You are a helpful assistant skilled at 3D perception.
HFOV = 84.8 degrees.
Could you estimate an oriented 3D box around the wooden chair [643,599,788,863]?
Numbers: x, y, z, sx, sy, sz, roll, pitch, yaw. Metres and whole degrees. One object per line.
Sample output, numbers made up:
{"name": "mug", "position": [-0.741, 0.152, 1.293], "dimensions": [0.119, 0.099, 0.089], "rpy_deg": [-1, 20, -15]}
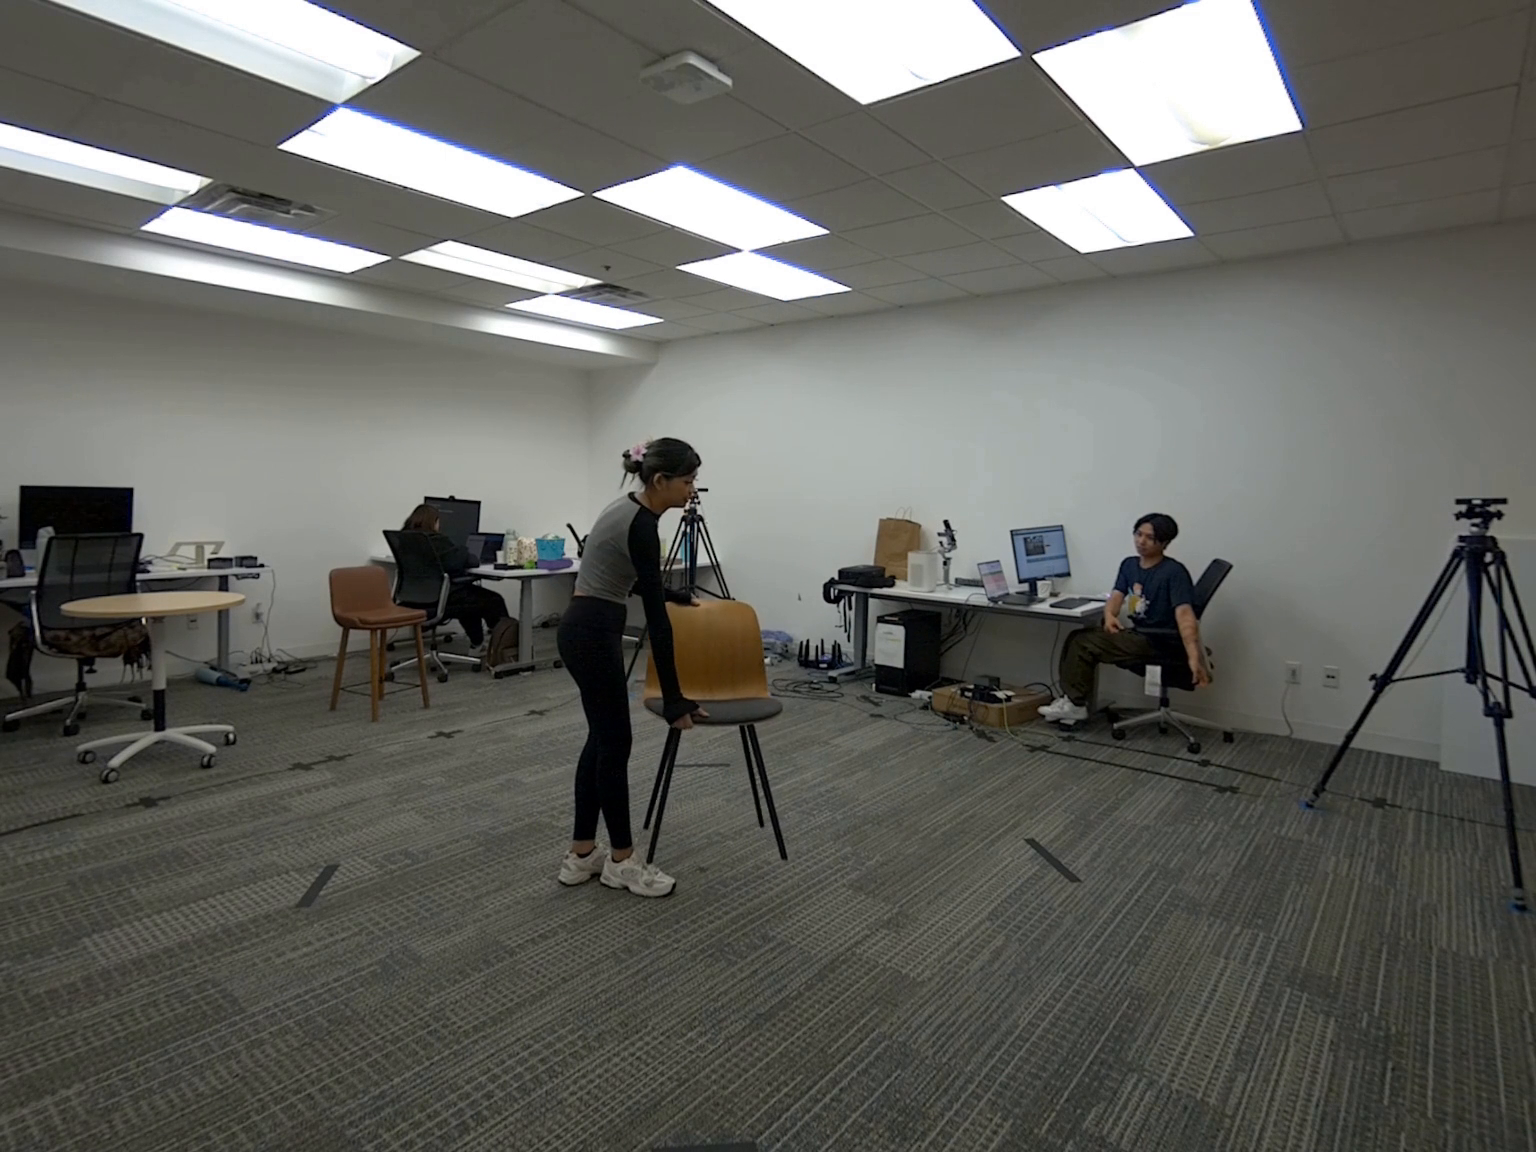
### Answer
{"name": "wooden chair", "position": [-0.206, 0.501, 2.959], "dimensions": [0.474, 0.886, 0.523], "rpy_deg": [0, -9, -8]}
